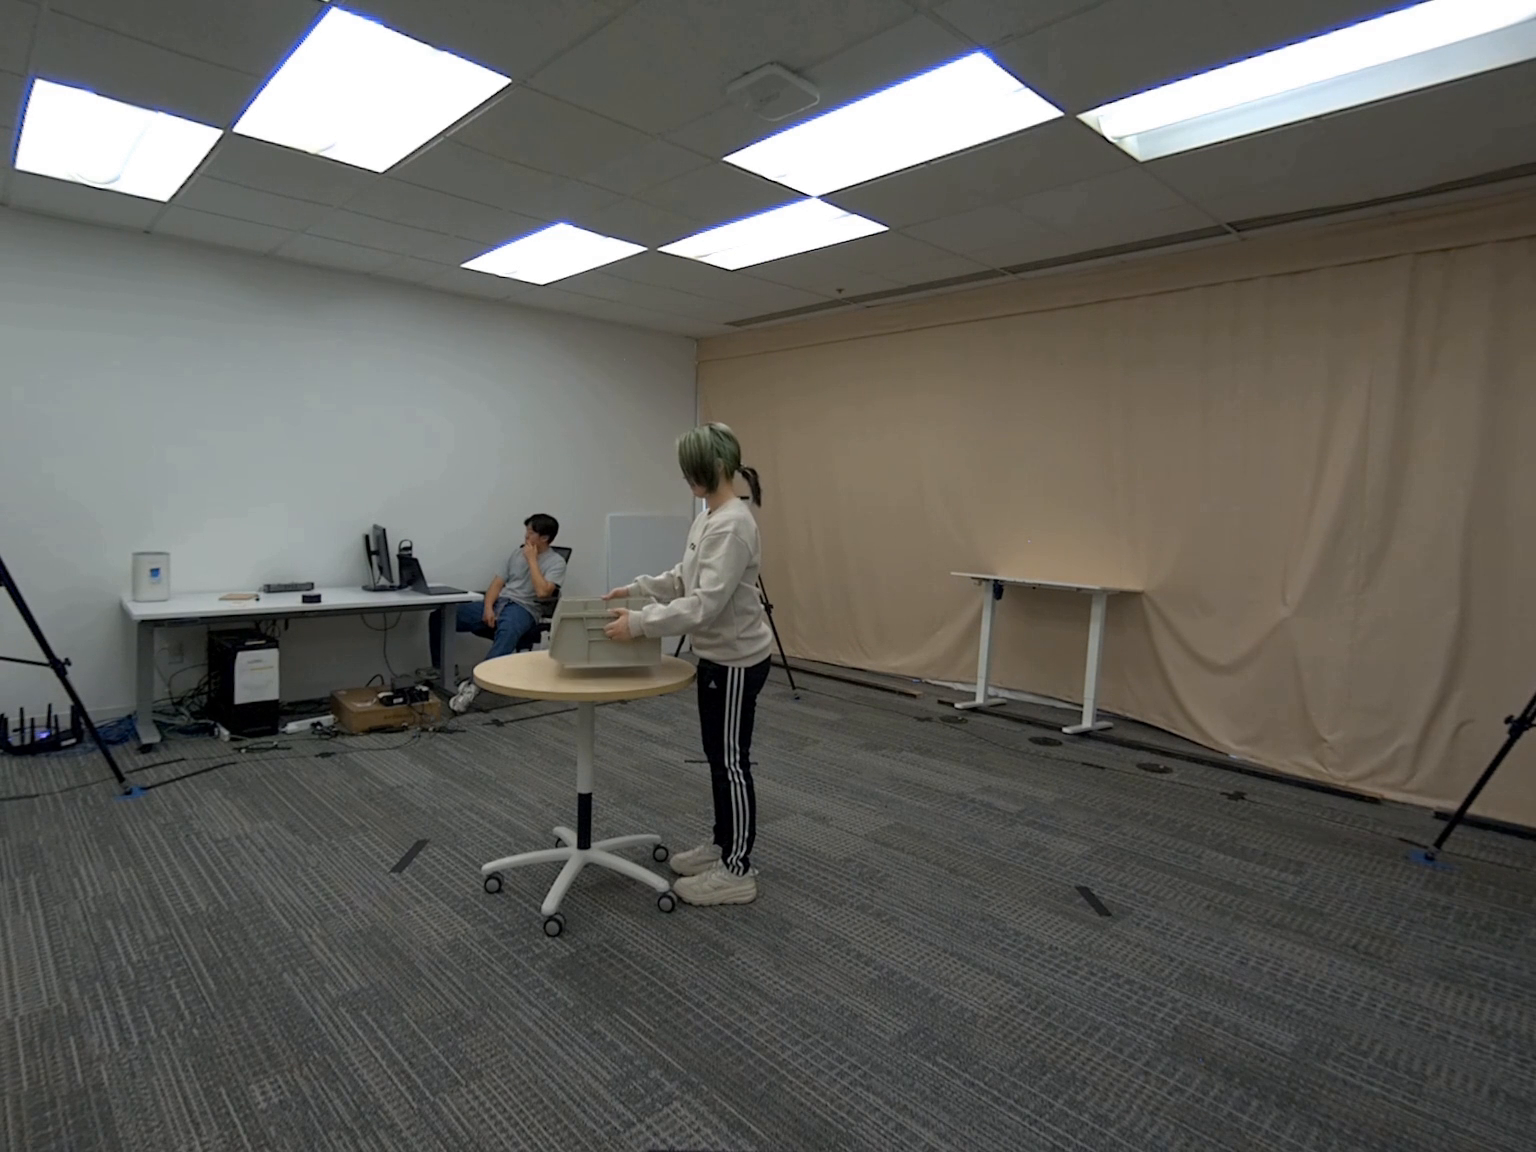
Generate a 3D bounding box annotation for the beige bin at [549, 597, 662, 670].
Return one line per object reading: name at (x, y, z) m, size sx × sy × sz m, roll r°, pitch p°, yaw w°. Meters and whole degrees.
beige bin at (-0.576, 0.181, 2.951) m, size 0.374 × 0.188 × 0.427 m, roll 0°, pitch 5°, yaw -12°
